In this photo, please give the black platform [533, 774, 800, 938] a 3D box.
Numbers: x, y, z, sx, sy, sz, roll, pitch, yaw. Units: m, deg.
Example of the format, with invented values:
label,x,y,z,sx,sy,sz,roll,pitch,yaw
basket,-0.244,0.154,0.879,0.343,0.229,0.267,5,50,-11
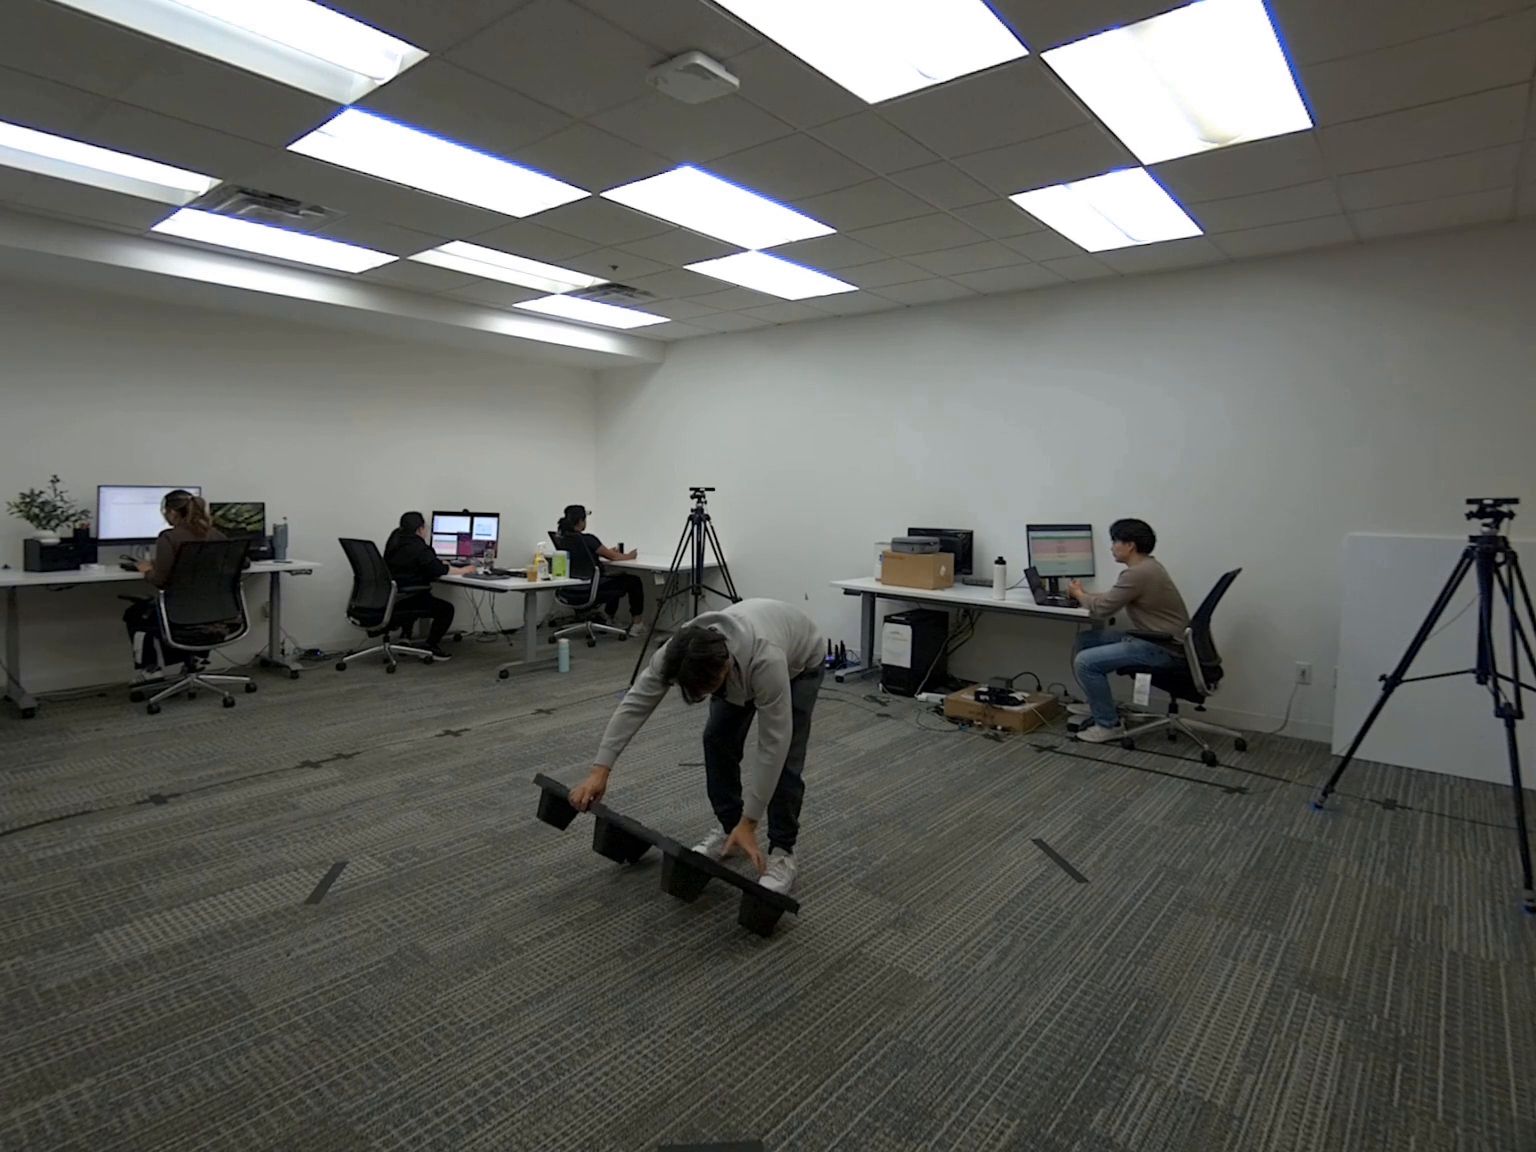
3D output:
label,x,y,z,sx,sy,sz,roll,pitch,yaw
black platform,-0.380,0.910,2.792,0.833,0.144,0.580,6,-27,46
